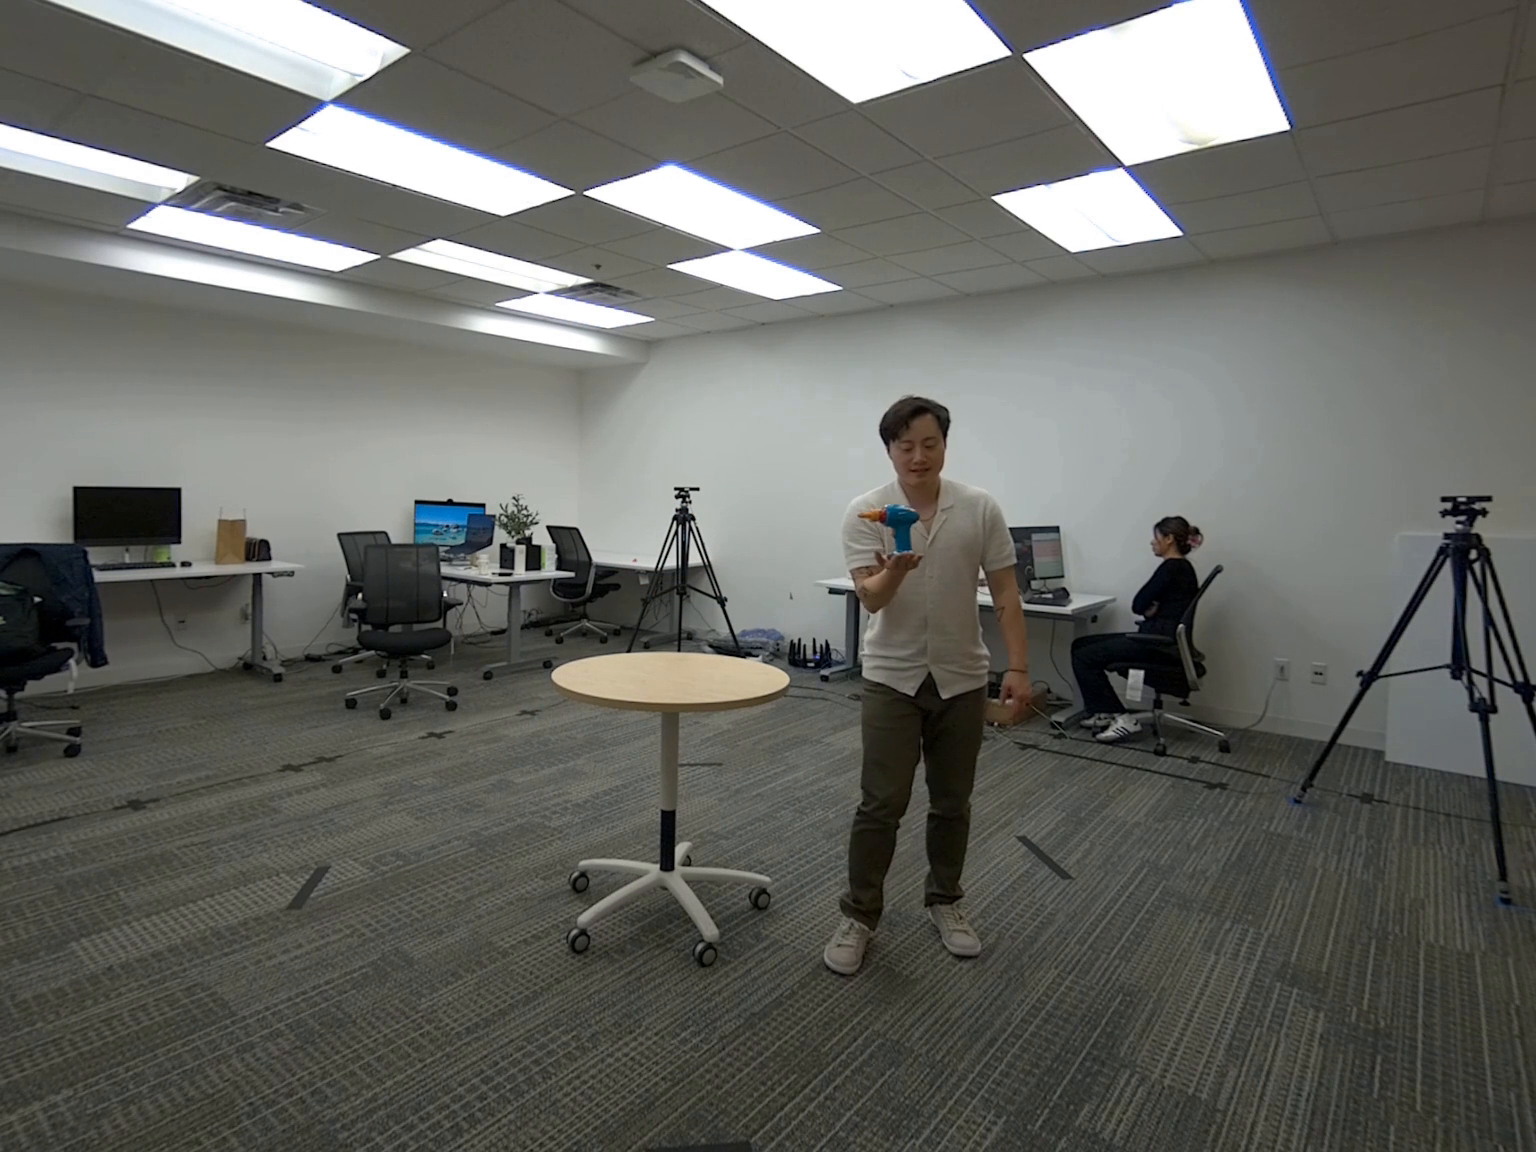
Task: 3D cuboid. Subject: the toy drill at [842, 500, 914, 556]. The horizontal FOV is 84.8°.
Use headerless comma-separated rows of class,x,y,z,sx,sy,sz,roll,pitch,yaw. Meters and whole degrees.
toy drill,0.290,-0.125,2.232,0.168,0.146,0.062,2,0,-9
